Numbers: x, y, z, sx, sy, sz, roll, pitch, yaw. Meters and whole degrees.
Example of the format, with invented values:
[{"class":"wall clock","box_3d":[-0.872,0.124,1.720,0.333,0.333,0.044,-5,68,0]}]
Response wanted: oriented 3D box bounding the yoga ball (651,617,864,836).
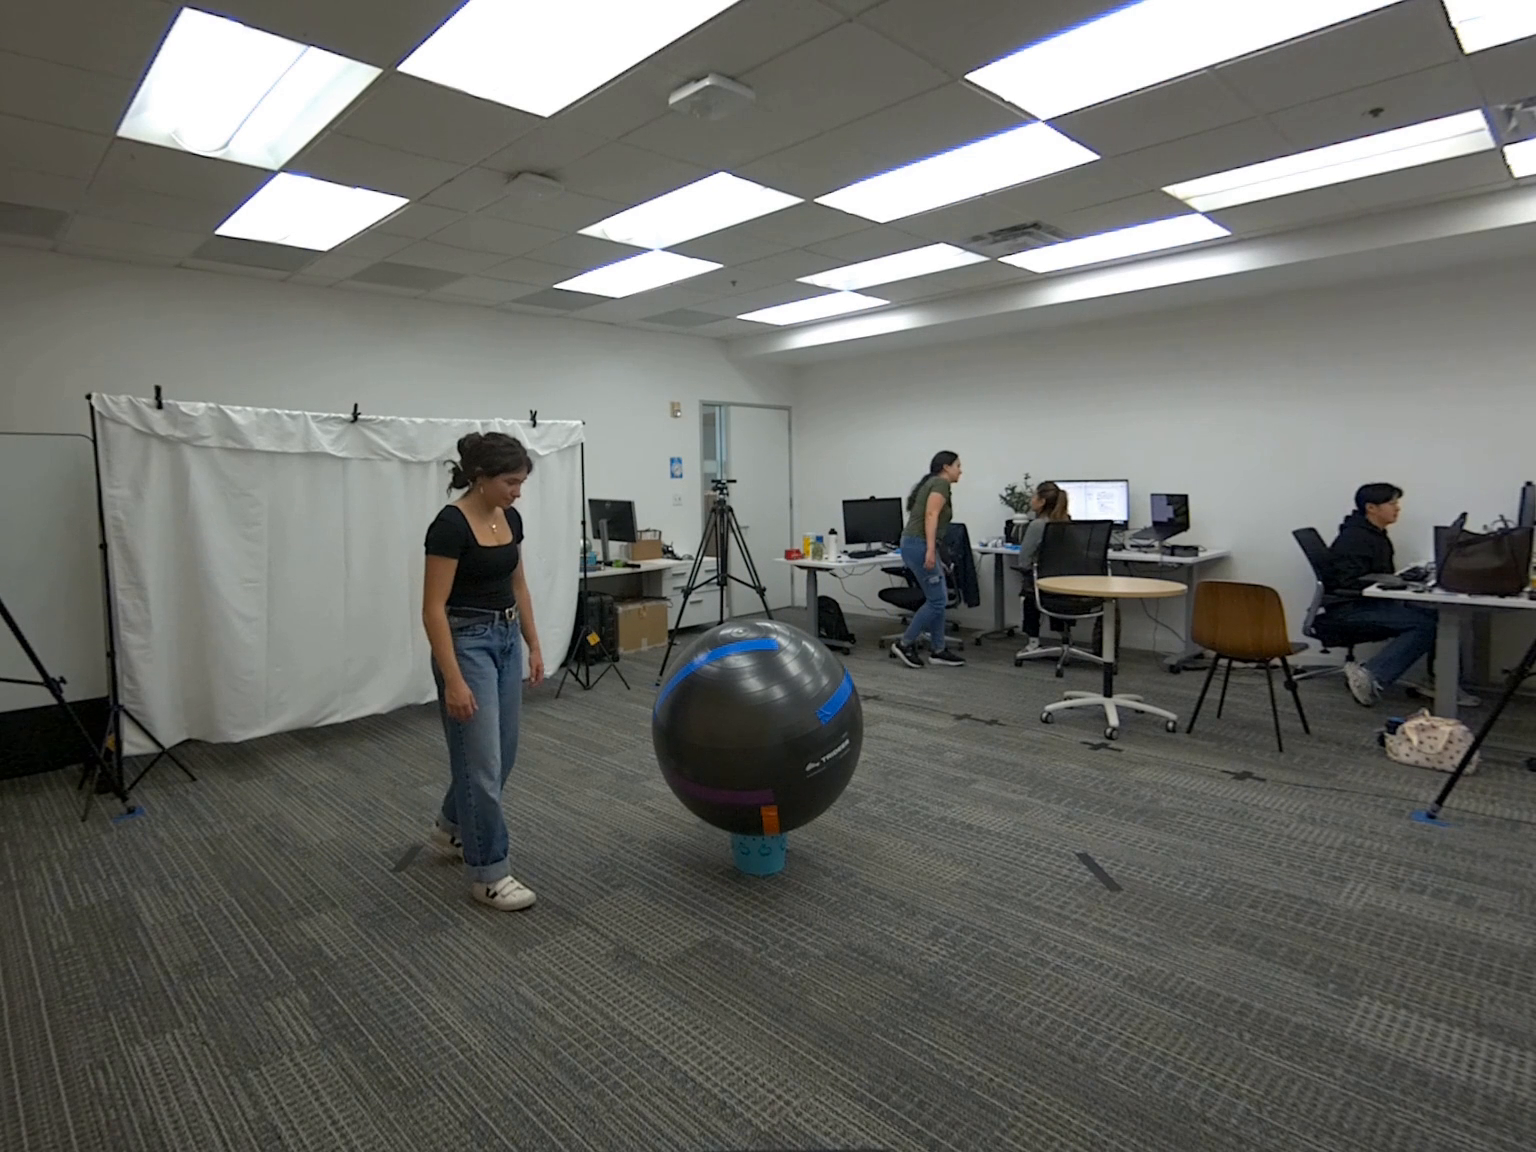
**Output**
[{"class":"yoga ball","box_3d":[-0.039,0.539,3.072,0.757,0.755,0.762,-1,5,-2]}]
